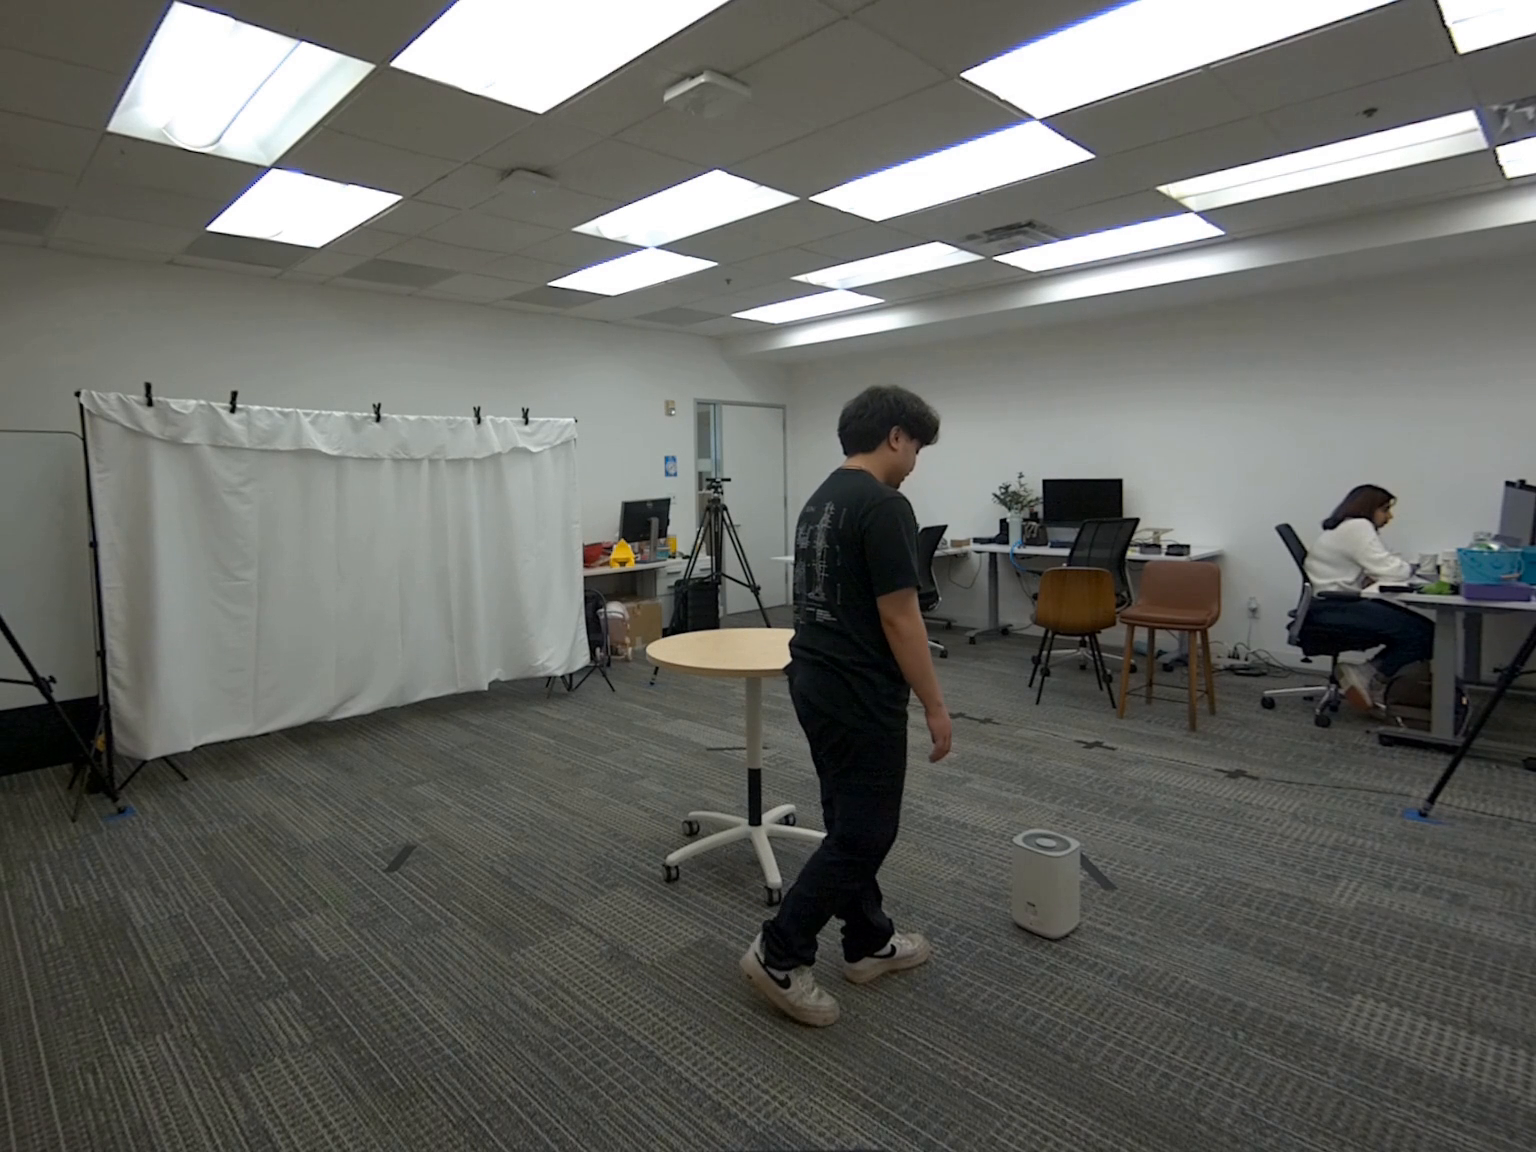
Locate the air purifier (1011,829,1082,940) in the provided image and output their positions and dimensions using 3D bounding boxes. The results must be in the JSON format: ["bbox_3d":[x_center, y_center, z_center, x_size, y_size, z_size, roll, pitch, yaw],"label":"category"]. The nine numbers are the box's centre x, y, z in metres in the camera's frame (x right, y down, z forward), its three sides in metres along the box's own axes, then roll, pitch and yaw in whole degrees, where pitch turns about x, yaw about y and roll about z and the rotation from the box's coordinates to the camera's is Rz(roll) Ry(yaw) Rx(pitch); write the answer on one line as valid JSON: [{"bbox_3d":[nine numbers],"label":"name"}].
[{"bbox_3d":[0.861,0.947,2.630,0.167,0.264,0.176,-5,6,-43],"label":"air purifier"}]
